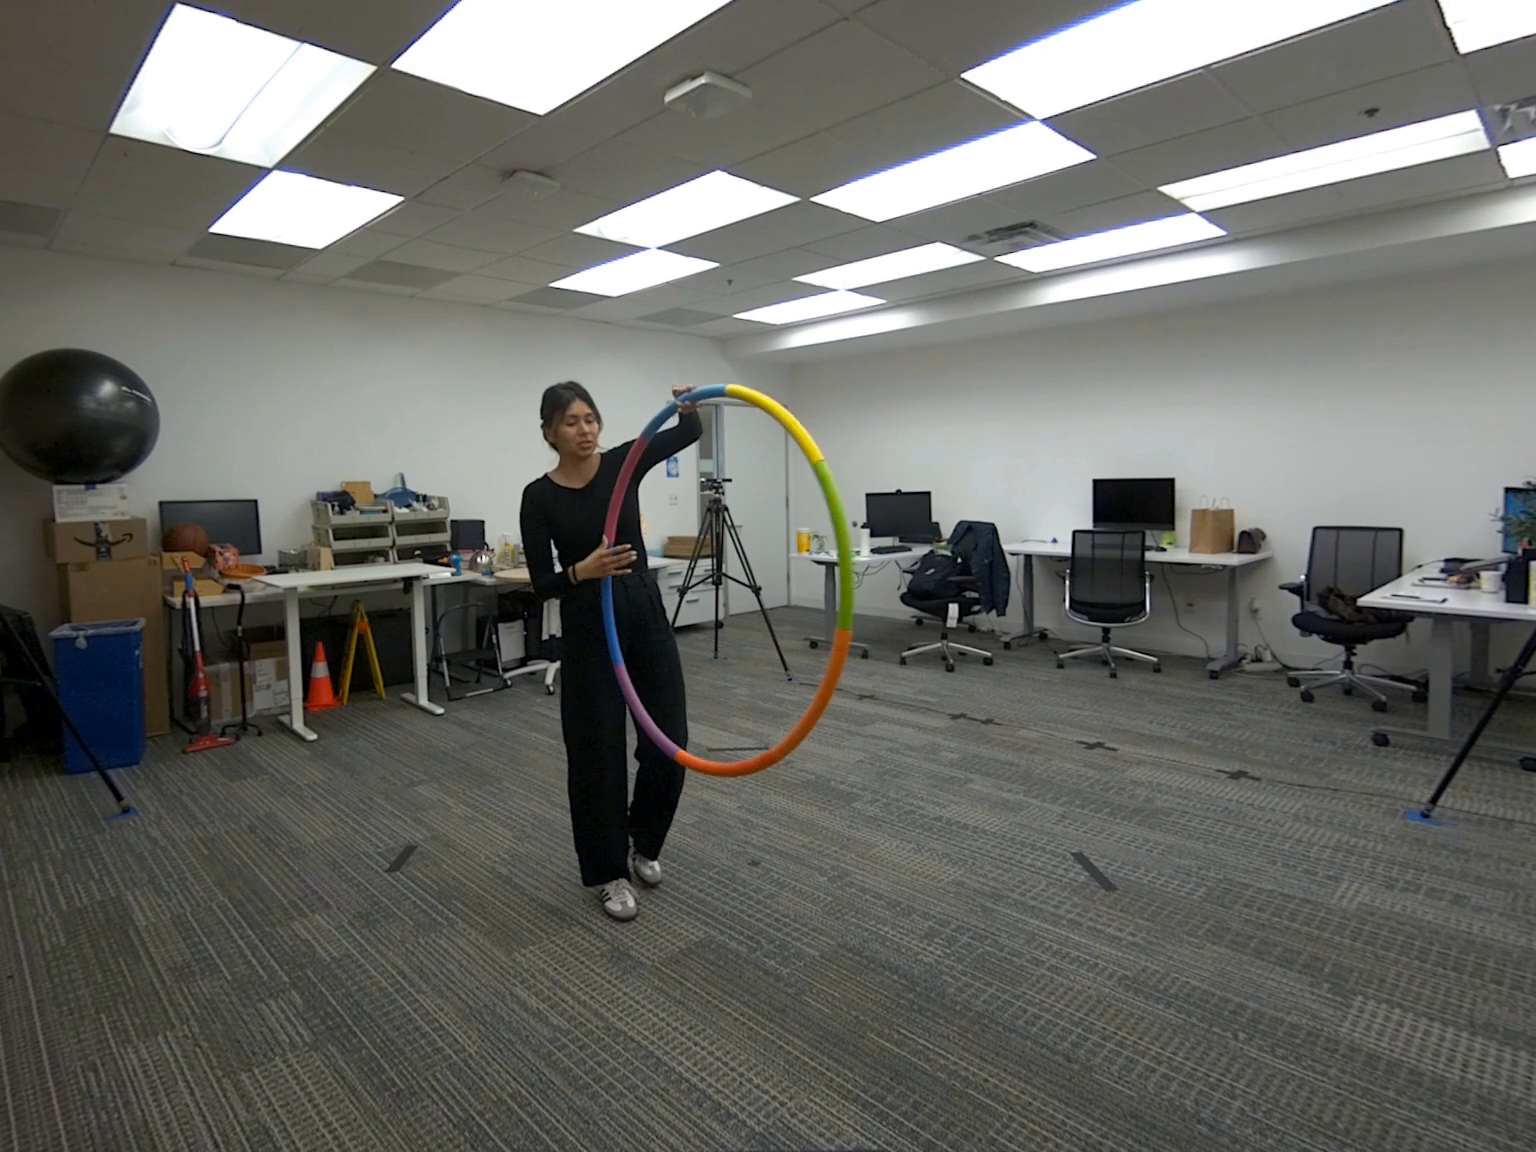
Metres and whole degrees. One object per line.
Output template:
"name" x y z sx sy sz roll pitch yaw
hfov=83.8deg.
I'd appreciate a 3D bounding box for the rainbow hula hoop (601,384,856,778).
"rainbow hula hoop" -0.156 0.004 2.202 0.050 0.985 1.016 2 1 -43
